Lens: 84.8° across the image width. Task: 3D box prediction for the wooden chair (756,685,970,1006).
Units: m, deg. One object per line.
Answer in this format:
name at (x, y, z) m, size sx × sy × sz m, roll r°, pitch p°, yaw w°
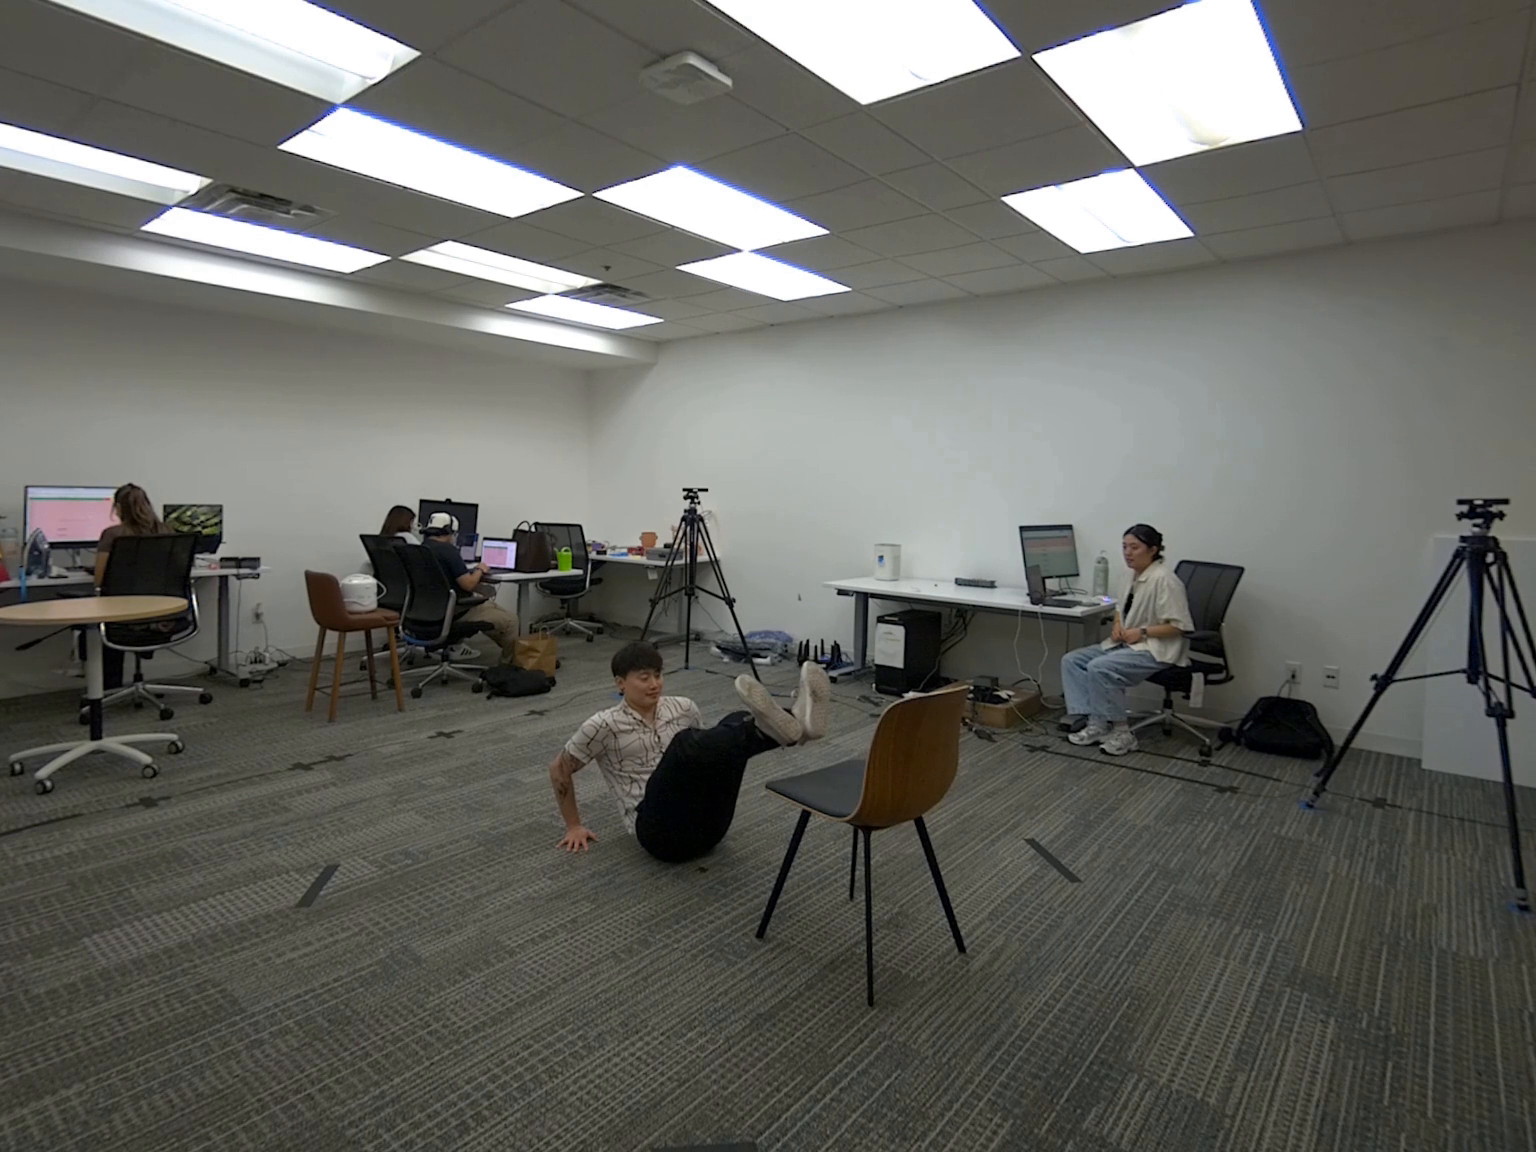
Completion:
wooden chair at (0.281, 0.703, 2.587) m, size 0.463 × 0.872 × 0.542 m, roll -2°, pitch 9°, yaw -43°
